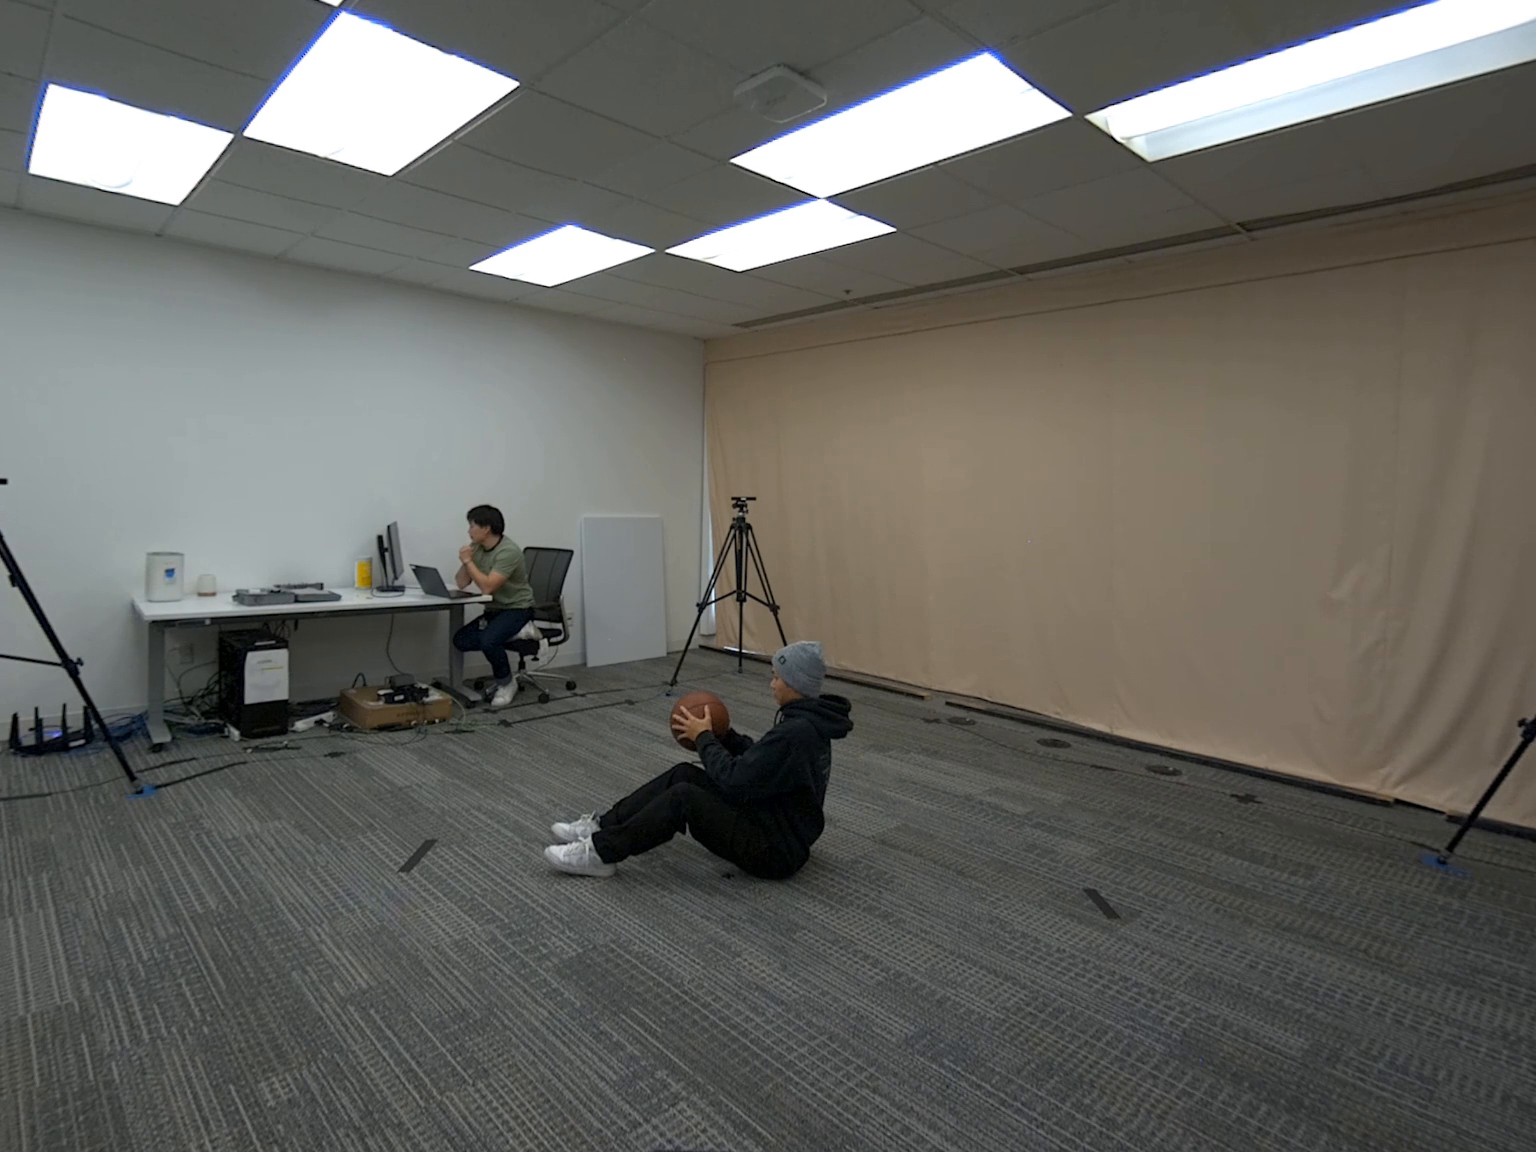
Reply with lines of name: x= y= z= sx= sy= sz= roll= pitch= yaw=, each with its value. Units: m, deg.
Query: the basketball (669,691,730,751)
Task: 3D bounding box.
basketball: x=-0.272 y=0.583 z=3.370 sx=0.236 sy=0.235 sz=0.237 roll=1 pitch=4 yaw=-1
